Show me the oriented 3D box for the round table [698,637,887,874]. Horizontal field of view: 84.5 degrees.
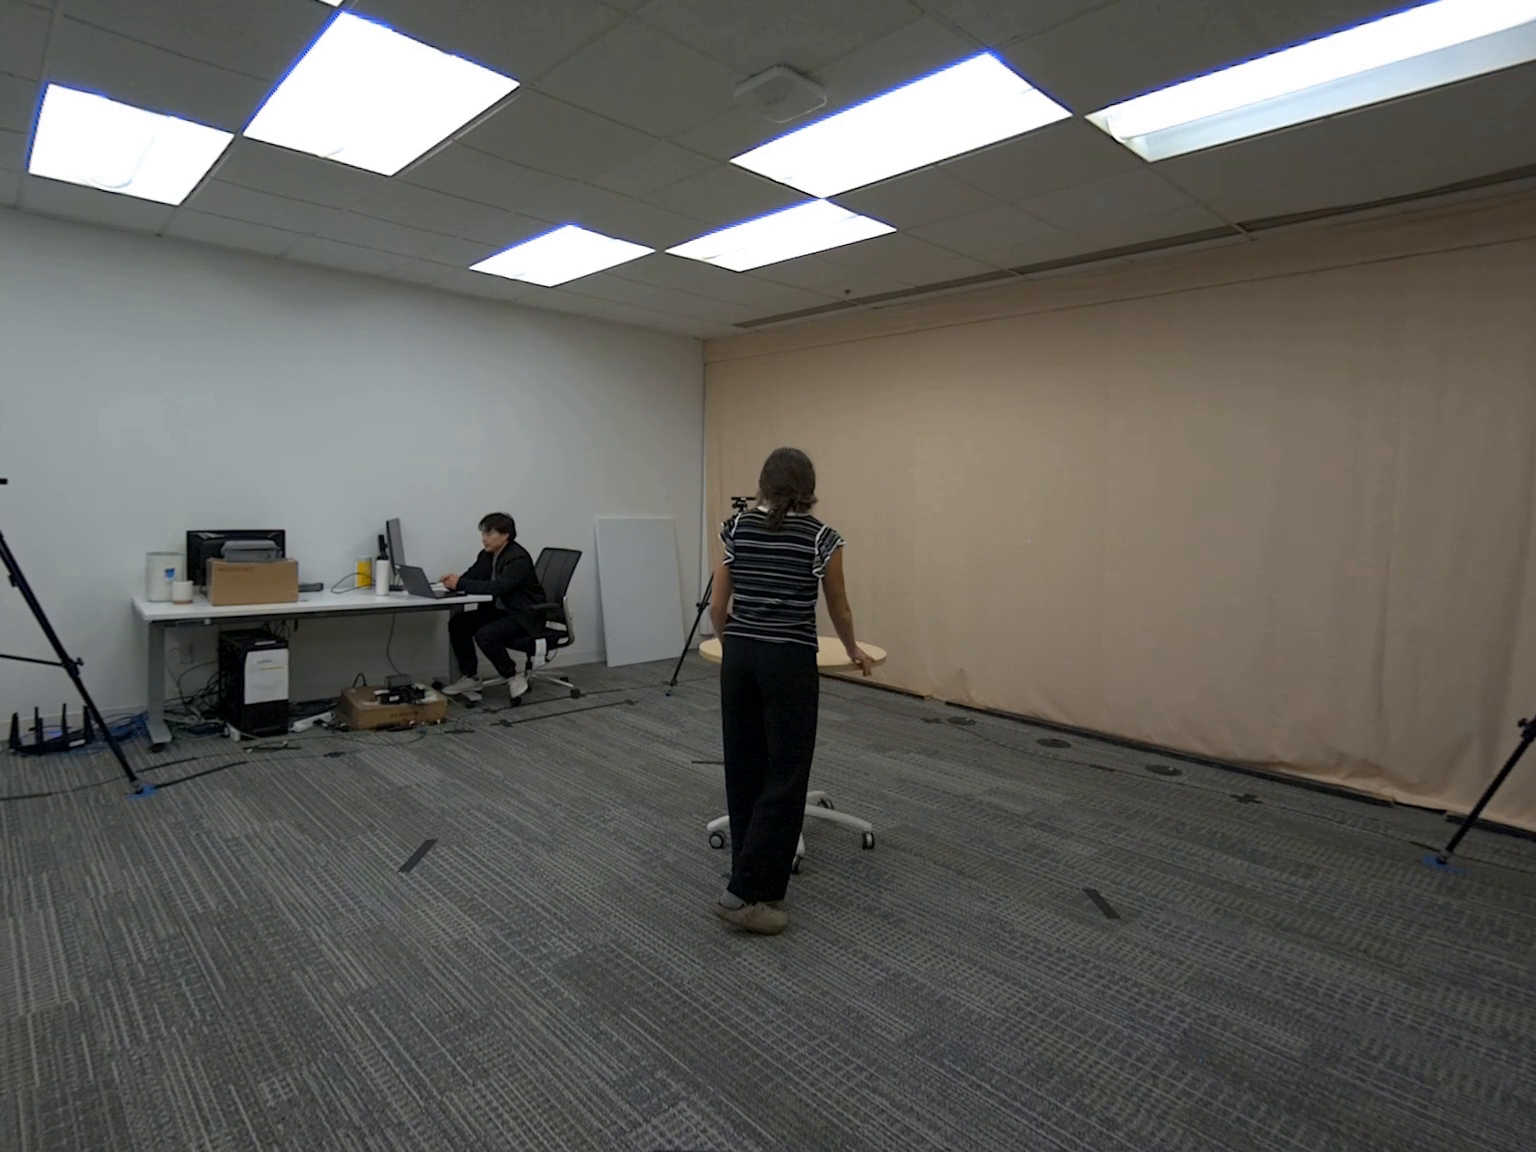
[{"bbox_3d":[0.077,0.686,3.490,0.784,0.785,0.787,2,3,-1],"label":"round table"}]
